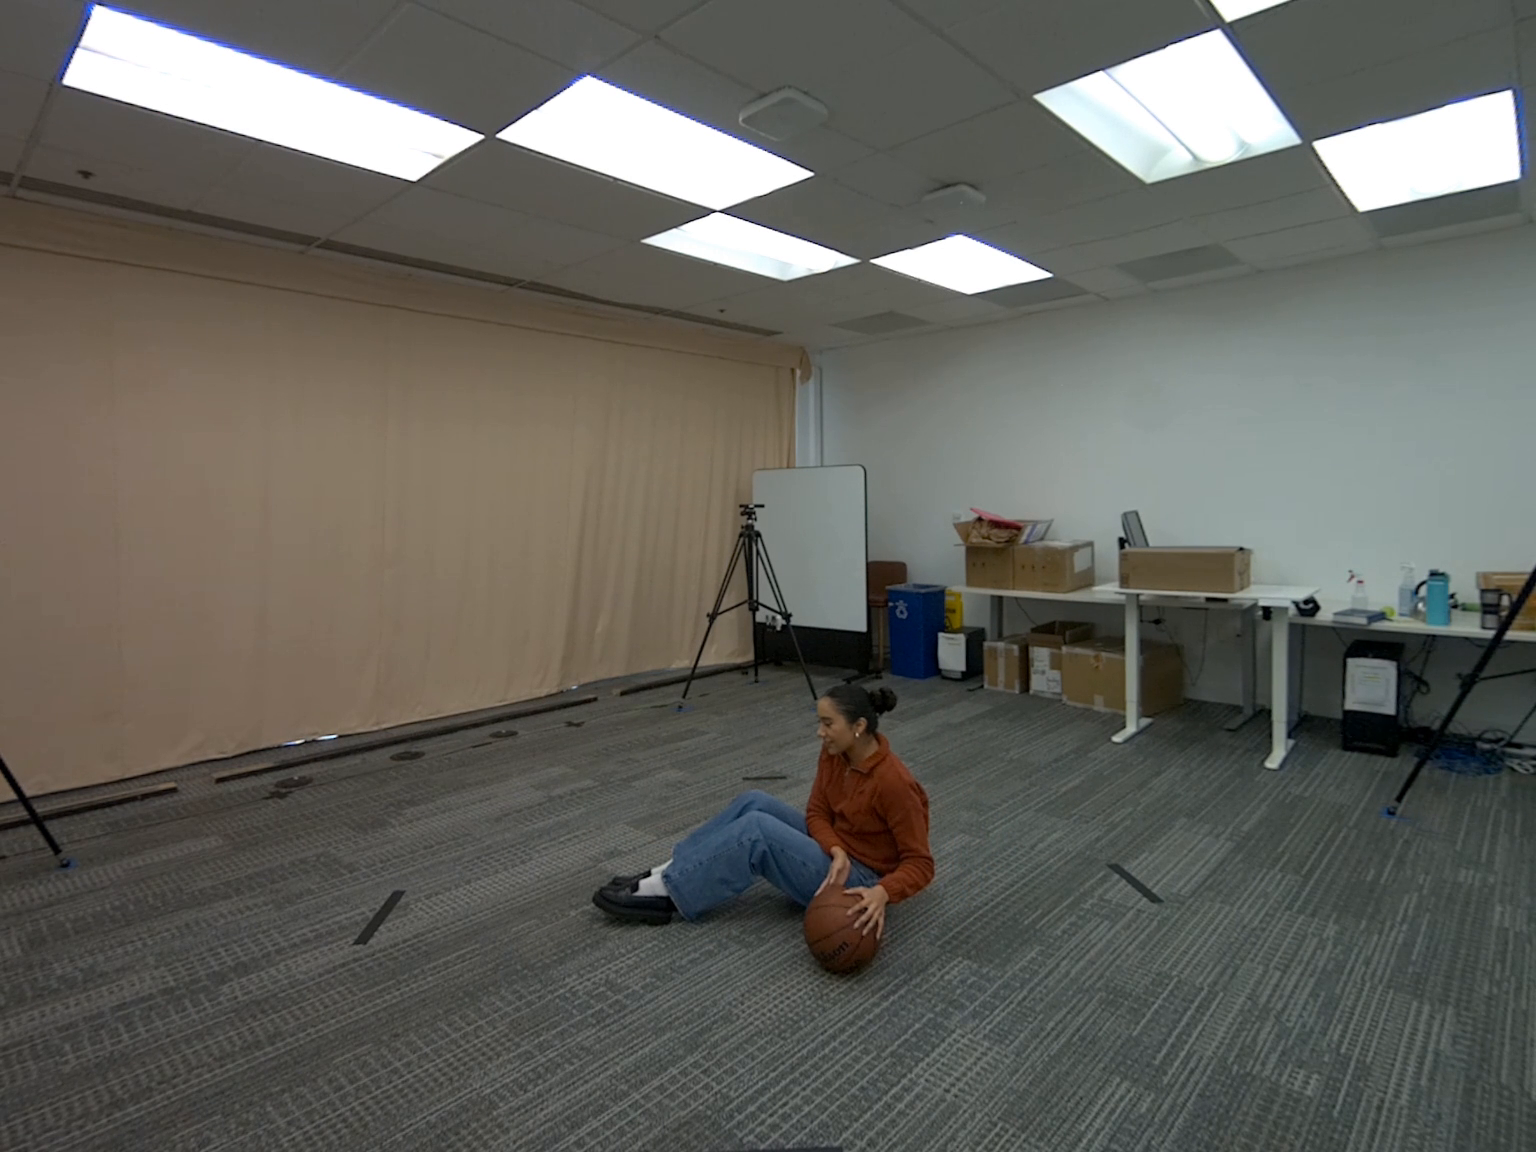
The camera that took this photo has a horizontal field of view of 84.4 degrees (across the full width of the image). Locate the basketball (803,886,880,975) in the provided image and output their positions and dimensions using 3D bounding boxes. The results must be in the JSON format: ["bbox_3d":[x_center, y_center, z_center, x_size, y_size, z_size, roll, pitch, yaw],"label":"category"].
[{"bbox_3d":[0.224,1.049,2.530,0.236,0.235,0.237,-1,4,-2],"label":"basketball"}]
